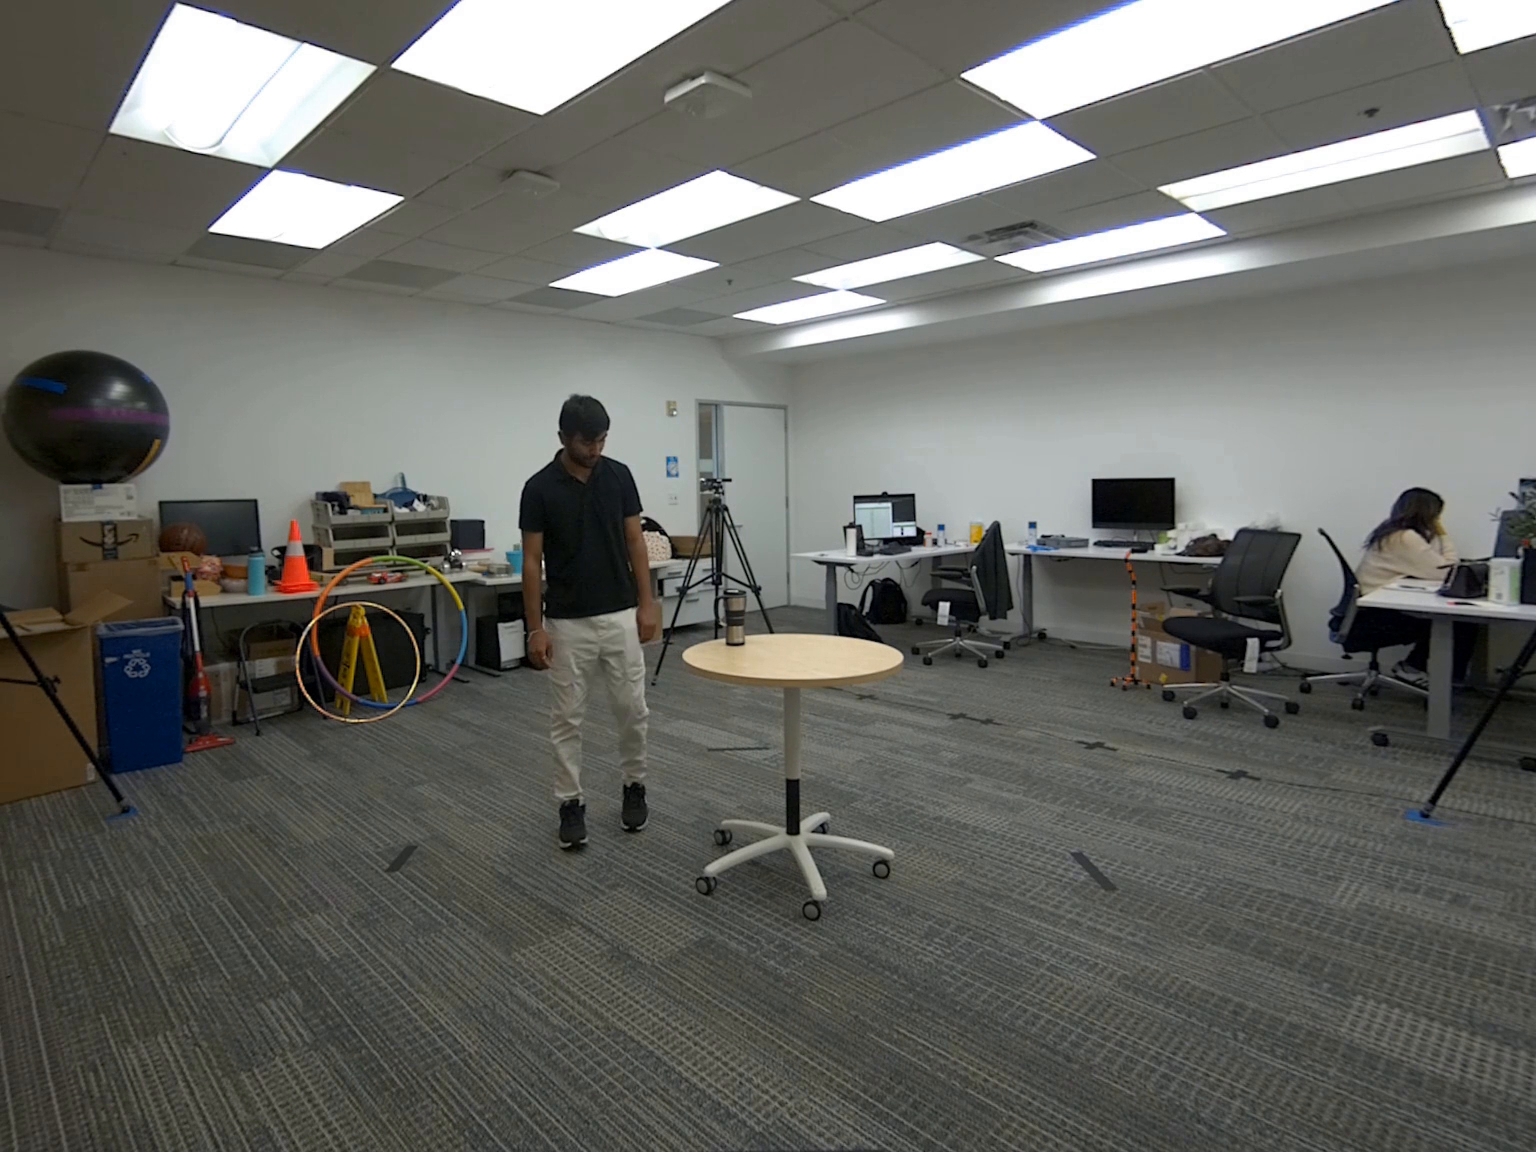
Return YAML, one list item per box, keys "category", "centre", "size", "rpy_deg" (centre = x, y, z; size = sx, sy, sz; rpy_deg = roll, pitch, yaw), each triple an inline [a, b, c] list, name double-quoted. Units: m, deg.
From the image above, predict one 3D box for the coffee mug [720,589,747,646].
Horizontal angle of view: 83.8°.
- category: "coffee mug"
  centre: [-0.141, 0.152, 3.177]
  size: [0.125, 0.202, 0.086]
  rpy_deg: [4, 7, 31]
